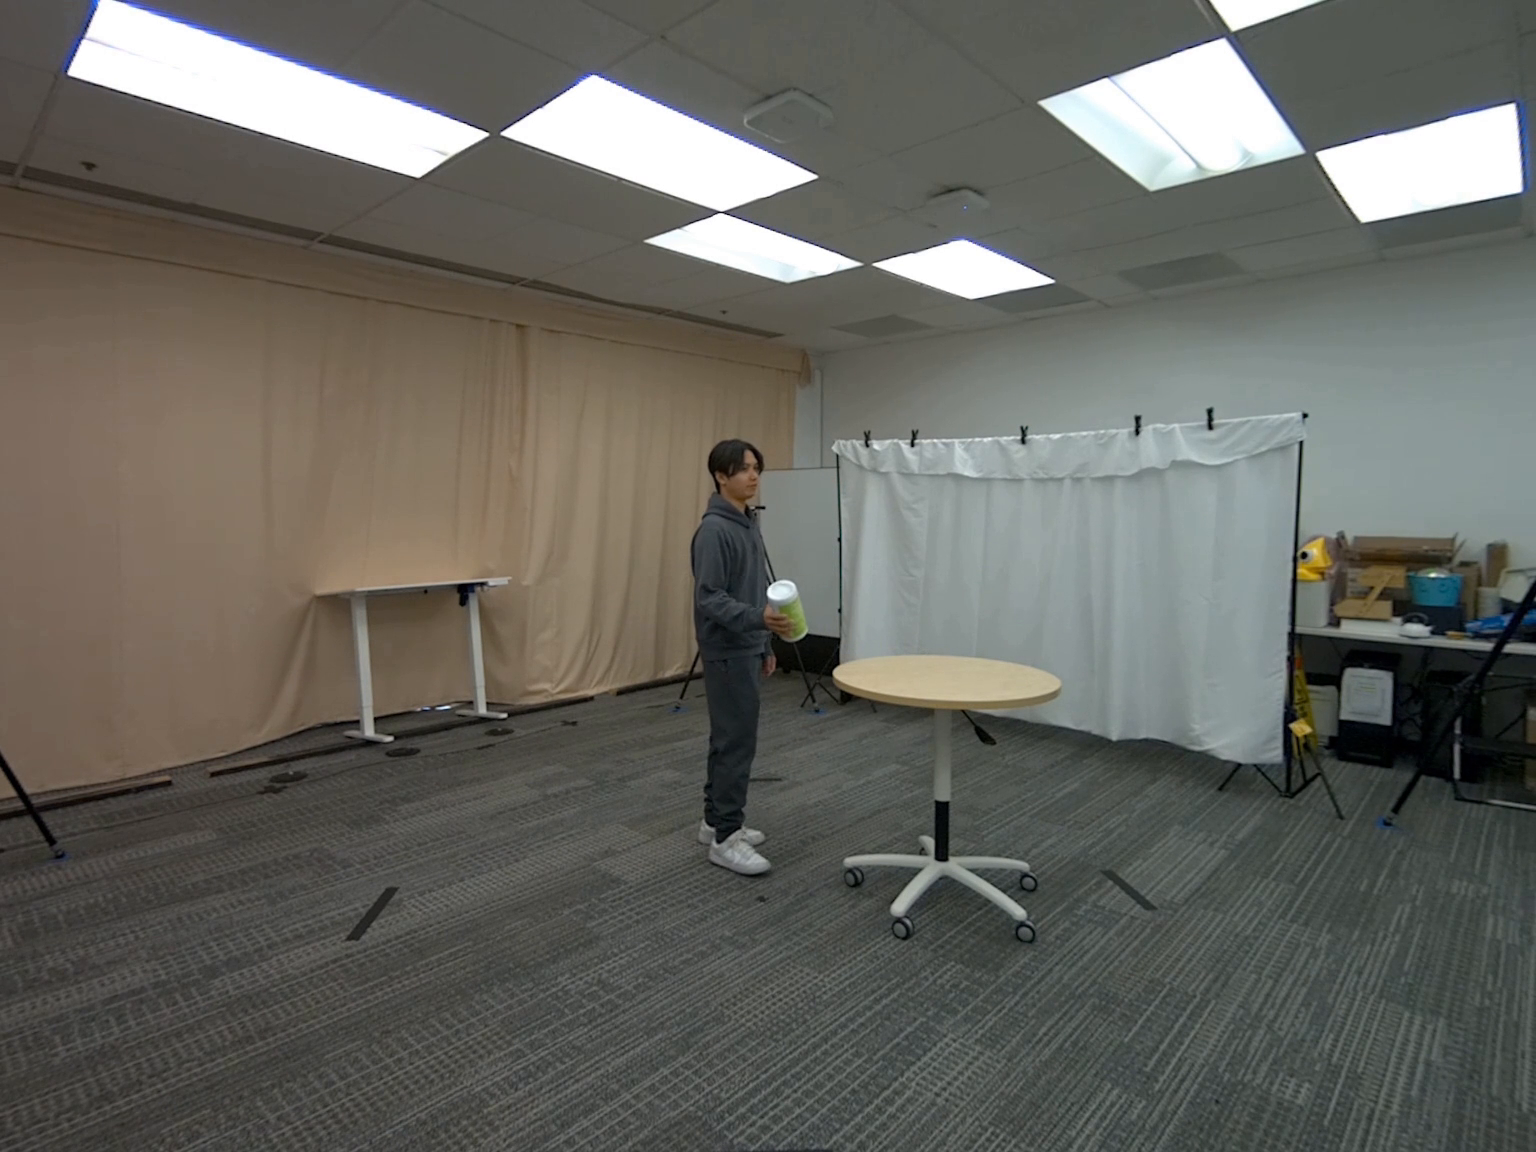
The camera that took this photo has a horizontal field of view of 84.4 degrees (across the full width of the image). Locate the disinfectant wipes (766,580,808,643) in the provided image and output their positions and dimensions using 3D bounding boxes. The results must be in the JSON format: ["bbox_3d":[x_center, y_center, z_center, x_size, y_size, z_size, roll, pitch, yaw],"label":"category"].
[{"bbox_3d":[0.073,0.130,3.057,0.118,0.212,0.120,-11,36,6],"label":"disinfectant wipes"}]
